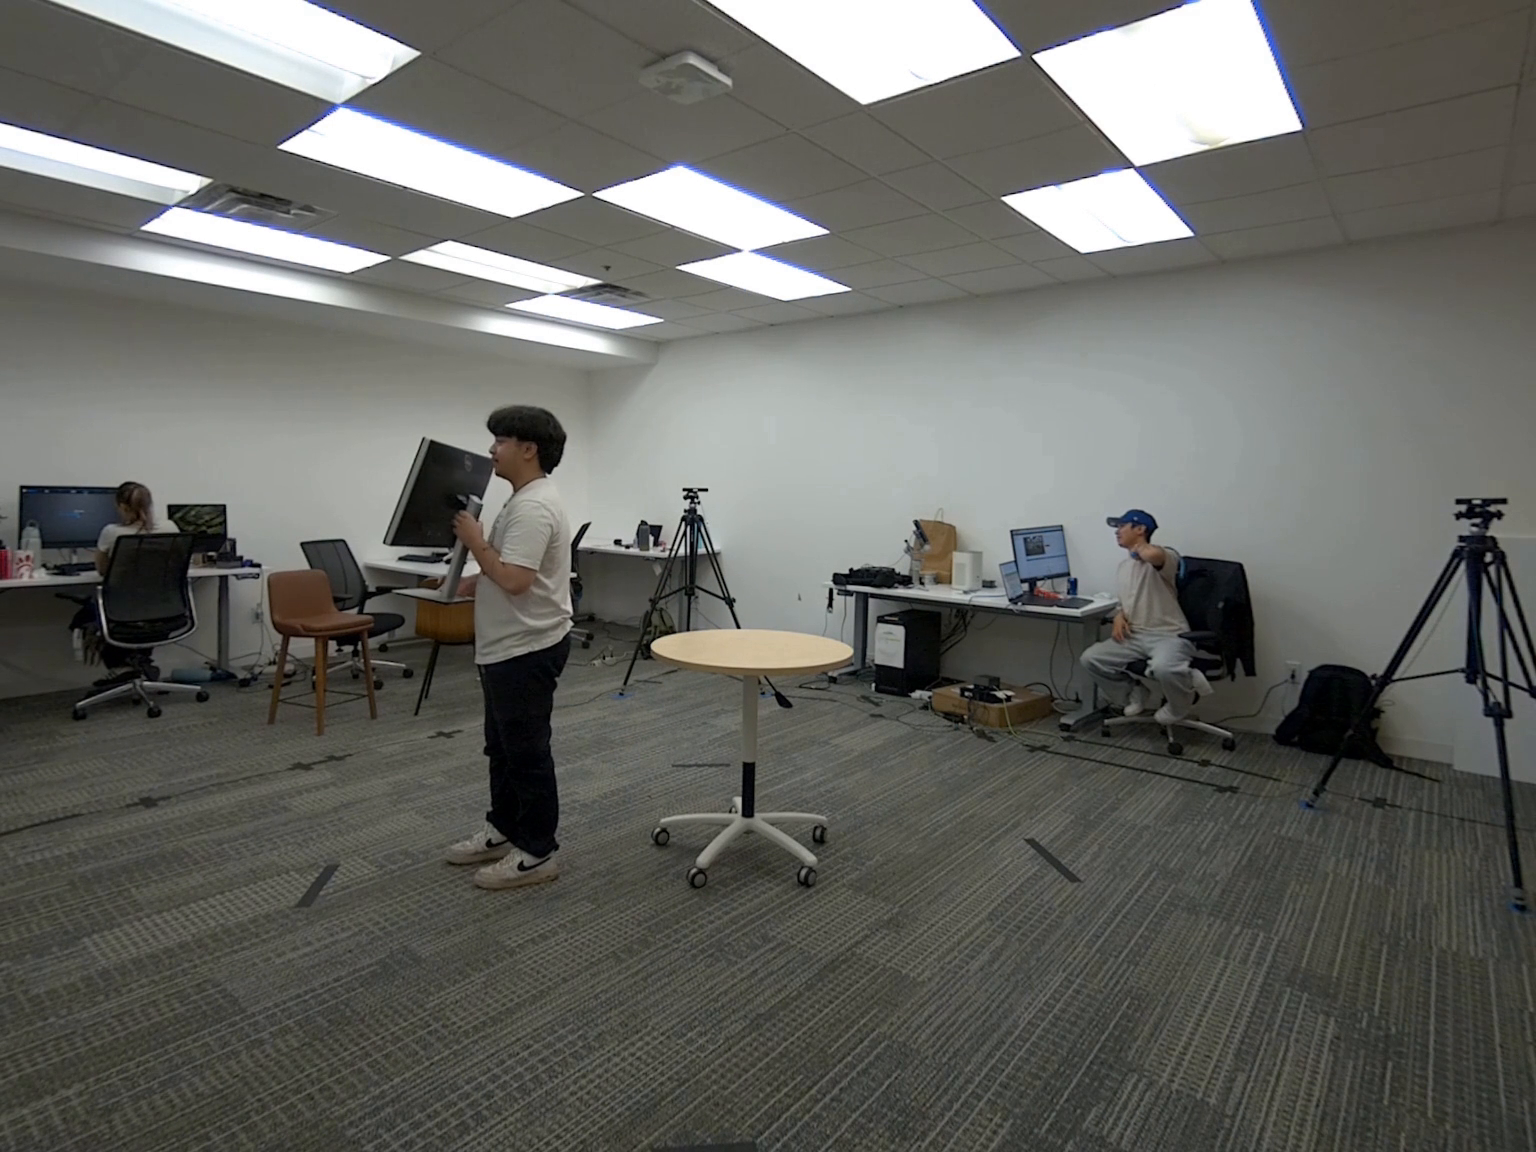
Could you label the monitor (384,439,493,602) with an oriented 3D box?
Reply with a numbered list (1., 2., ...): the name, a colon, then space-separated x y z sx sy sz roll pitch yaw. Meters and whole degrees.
1. monitor: -1.090 -0.170 2.944 0.212 0.554 0.561 16 0 4
